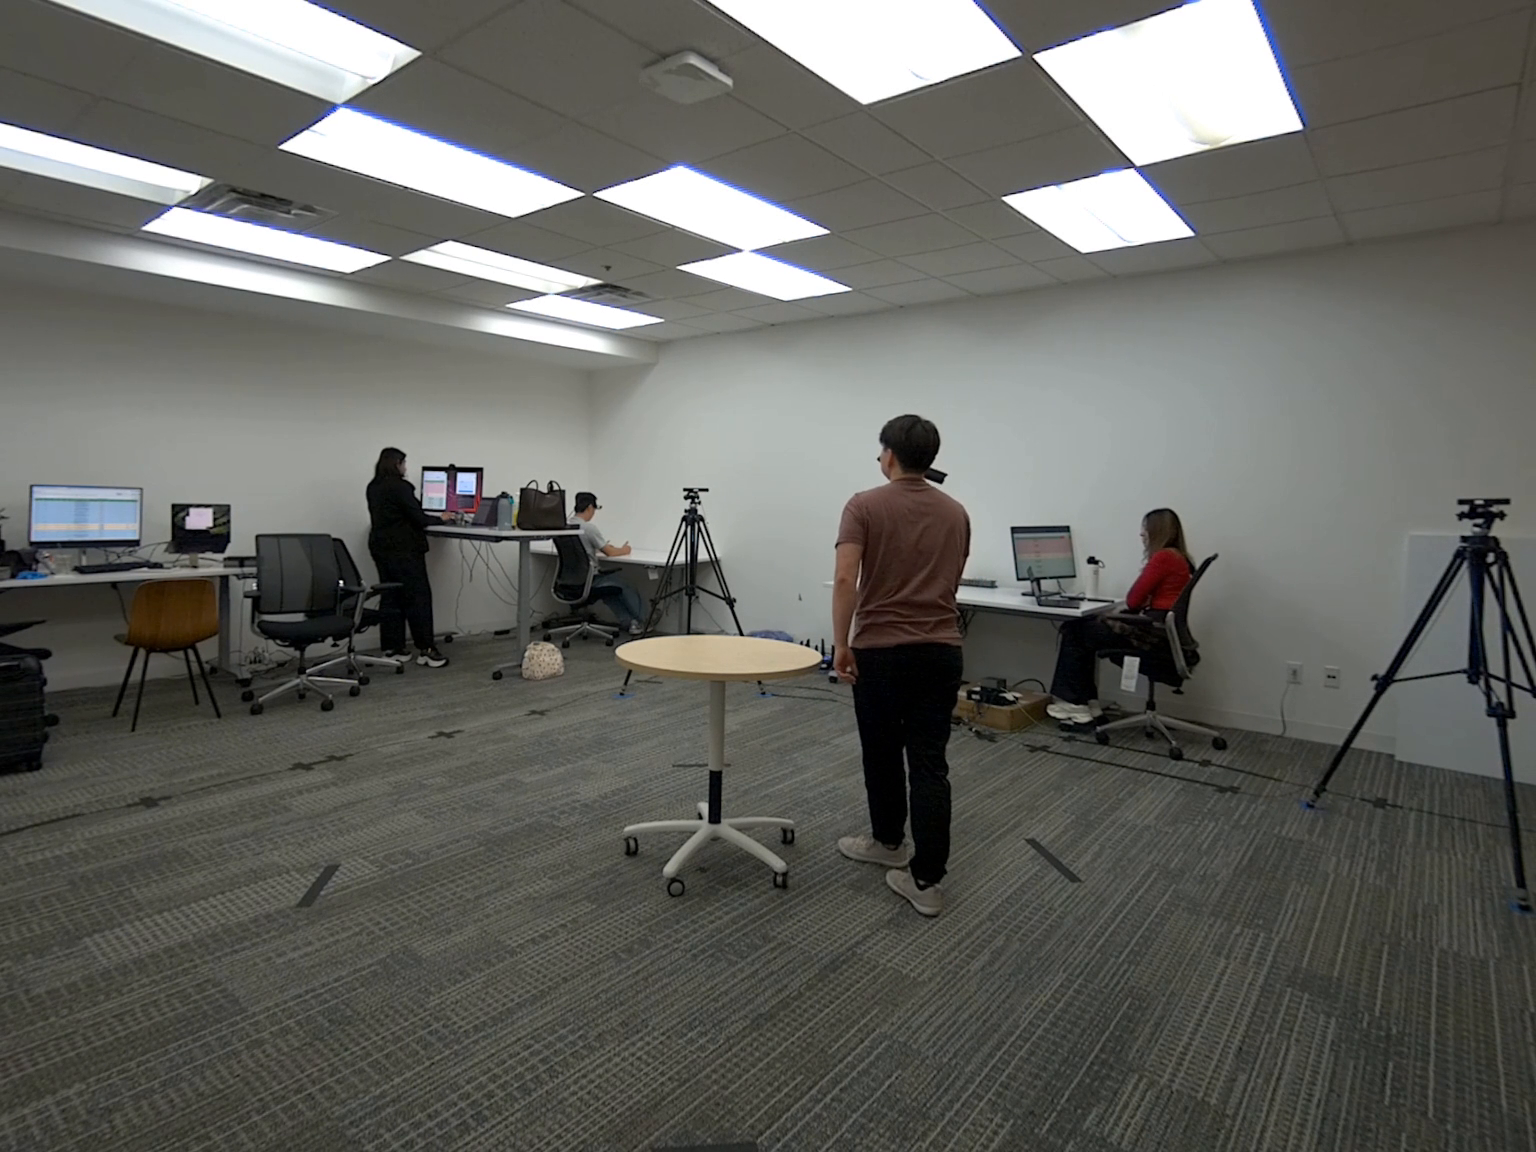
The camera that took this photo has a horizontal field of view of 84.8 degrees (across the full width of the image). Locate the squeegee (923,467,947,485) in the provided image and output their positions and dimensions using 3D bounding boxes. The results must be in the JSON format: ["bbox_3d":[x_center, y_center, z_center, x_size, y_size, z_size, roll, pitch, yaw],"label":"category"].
[{"bbox_3d":[0.459,0.301,3.389,0.422,1.548,0.054,12,-10,-37],"label":"squeegee"}]
